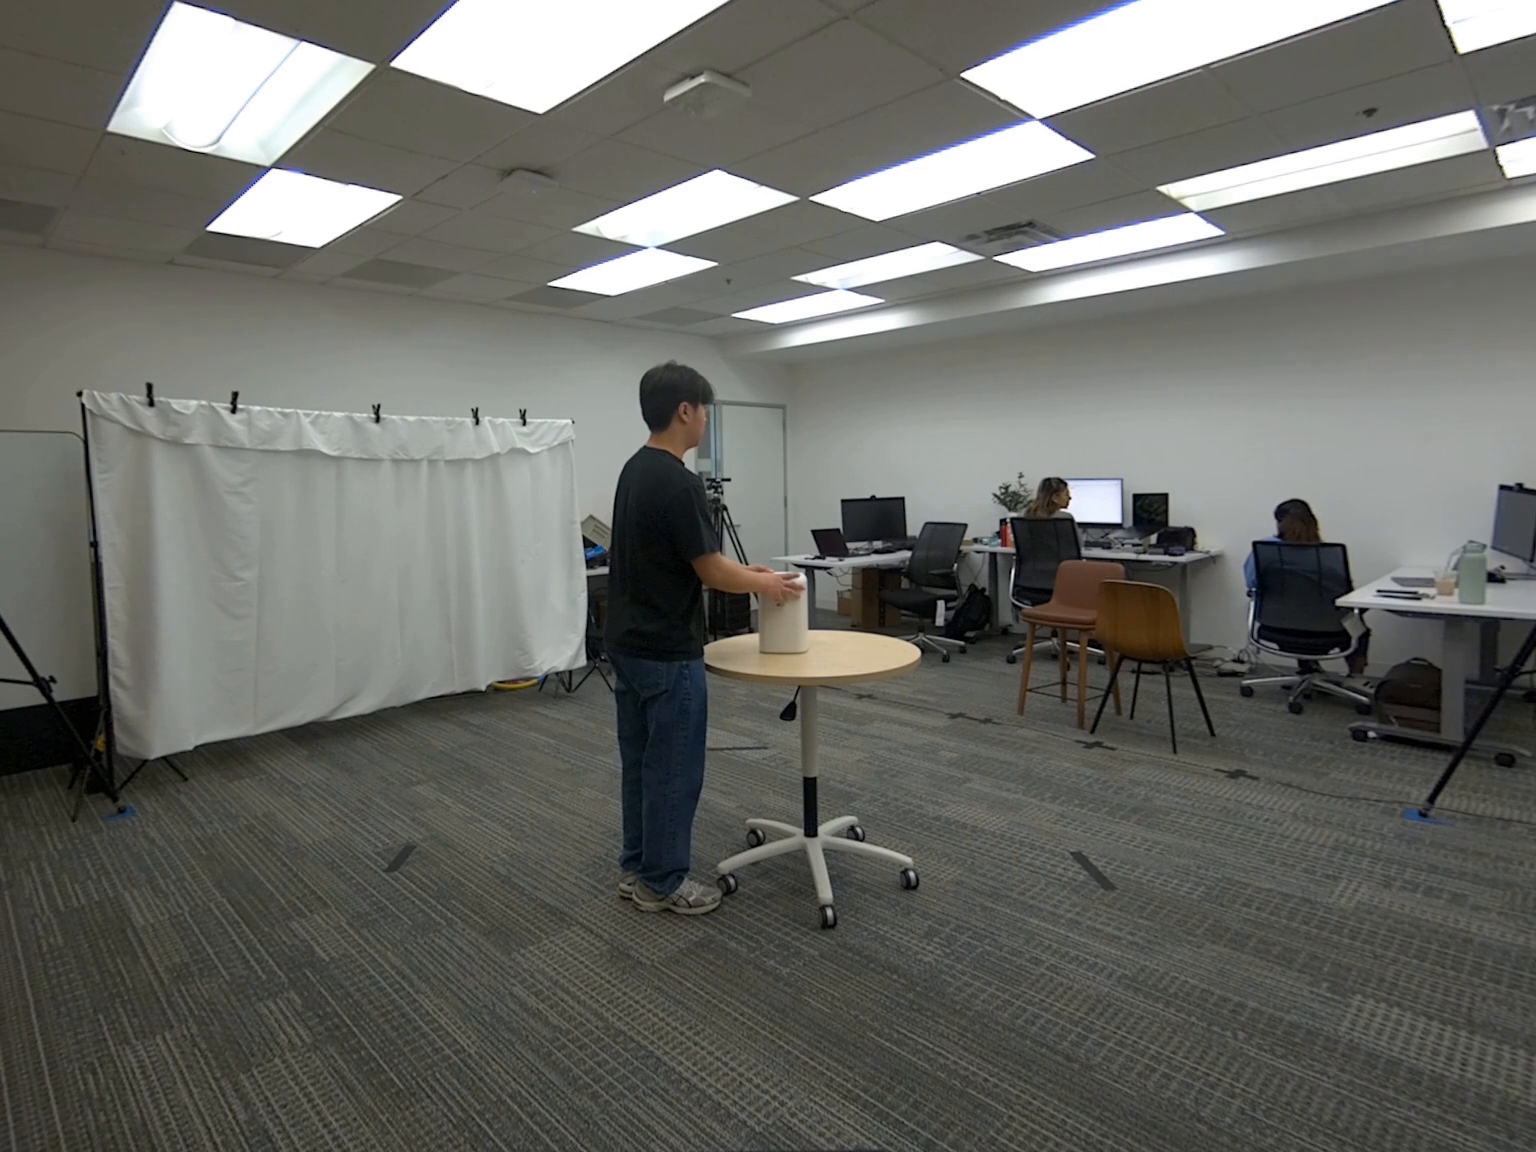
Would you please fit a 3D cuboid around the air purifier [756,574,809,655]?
[{"bbox_3d":[0.050,0.124,2.992,0.172,0.264,0.171,-3,3,8],"label":"air purifier"}]
